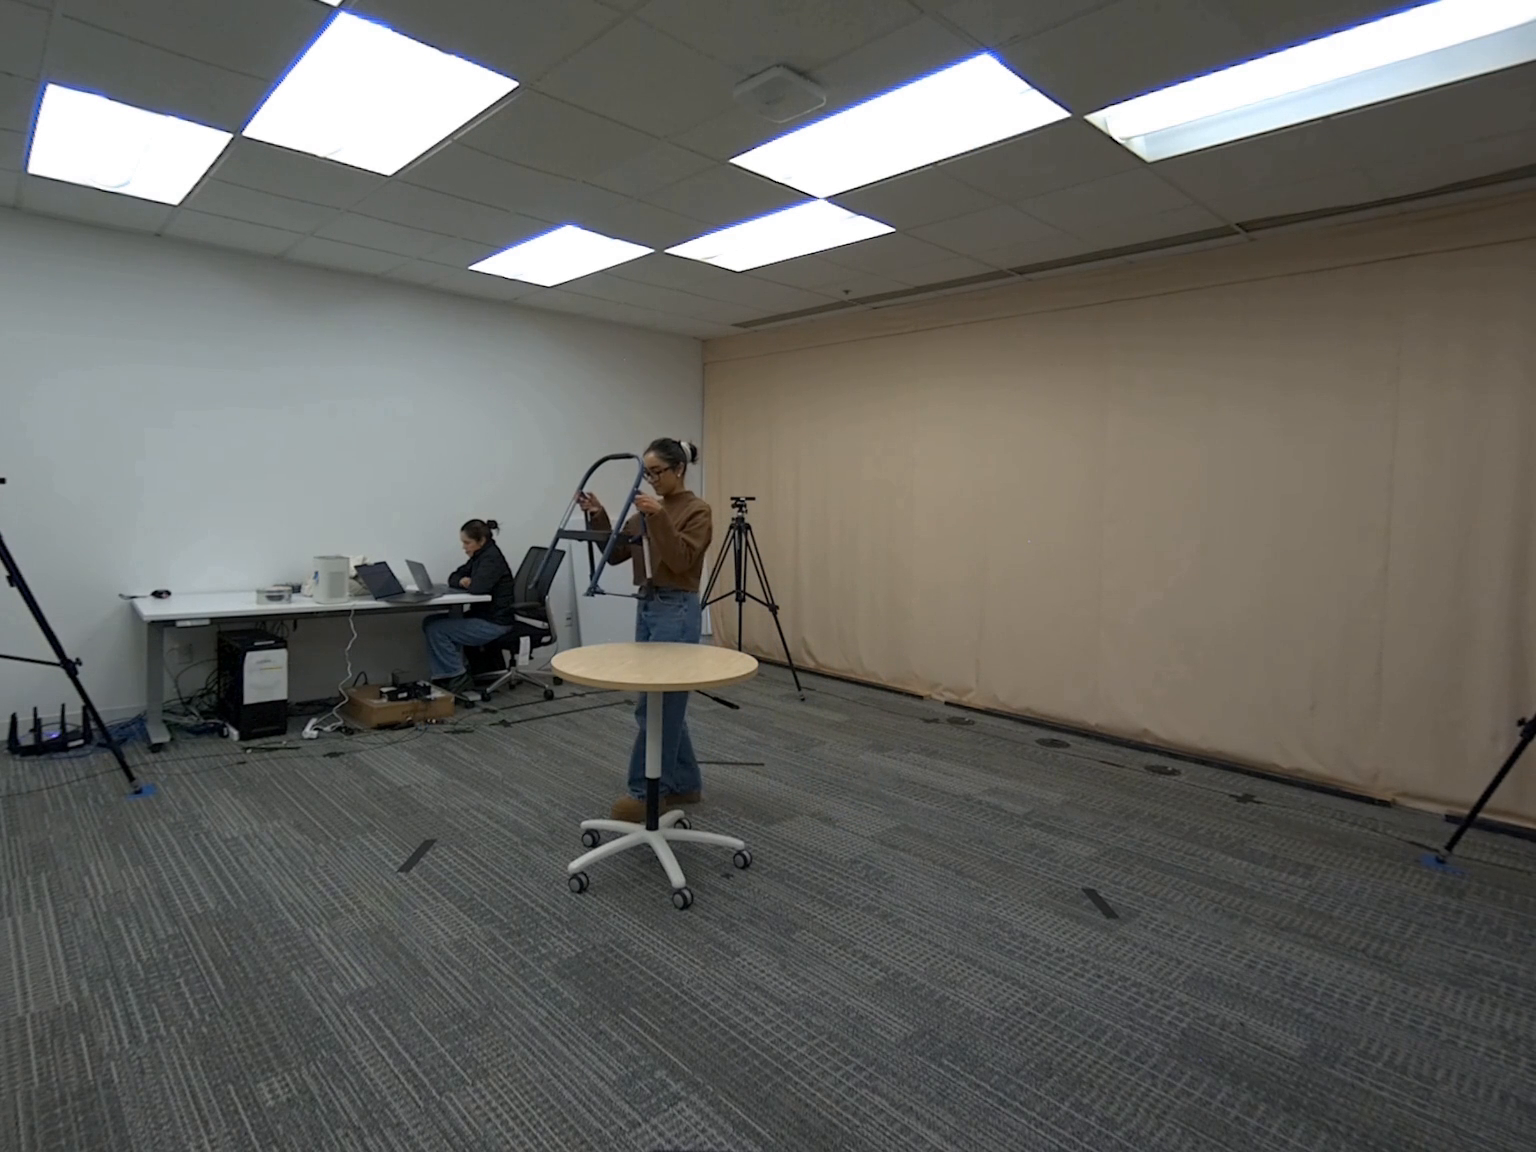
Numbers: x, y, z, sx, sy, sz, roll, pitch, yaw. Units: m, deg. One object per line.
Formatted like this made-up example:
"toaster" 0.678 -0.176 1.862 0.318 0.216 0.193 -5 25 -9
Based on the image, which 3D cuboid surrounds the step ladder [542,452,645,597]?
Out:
"step ladder" -0.708 -0.221 3.503 0.442 0.607 0.340 5 -2 44
